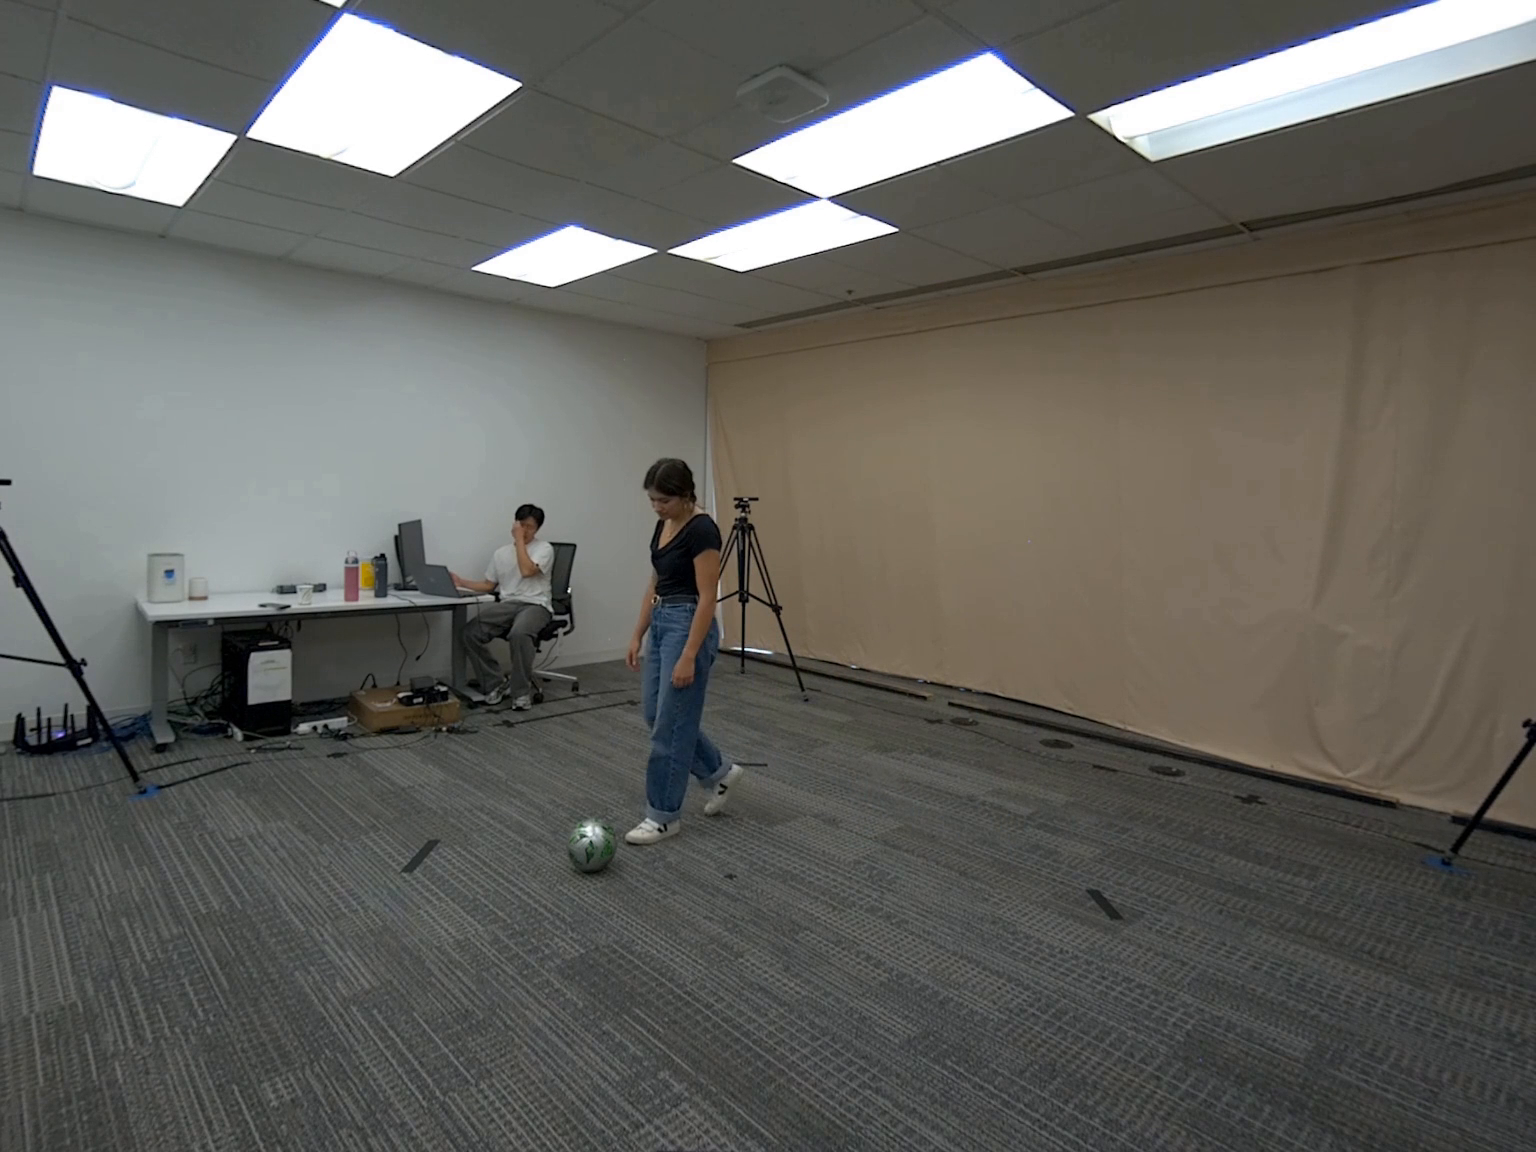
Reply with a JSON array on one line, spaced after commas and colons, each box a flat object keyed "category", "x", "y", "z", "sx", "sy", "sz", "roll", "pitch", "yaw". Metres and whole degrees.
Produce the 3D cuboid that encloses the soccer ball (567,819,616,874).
[{"category": "soccer ball", "x": -0.670, "y": 1.004, "z": 3.117, "sx": 0.187, "sy": 0.187, "sz": 0.188, "roll": 1, "pitch": 4, "yaw": -1}]
